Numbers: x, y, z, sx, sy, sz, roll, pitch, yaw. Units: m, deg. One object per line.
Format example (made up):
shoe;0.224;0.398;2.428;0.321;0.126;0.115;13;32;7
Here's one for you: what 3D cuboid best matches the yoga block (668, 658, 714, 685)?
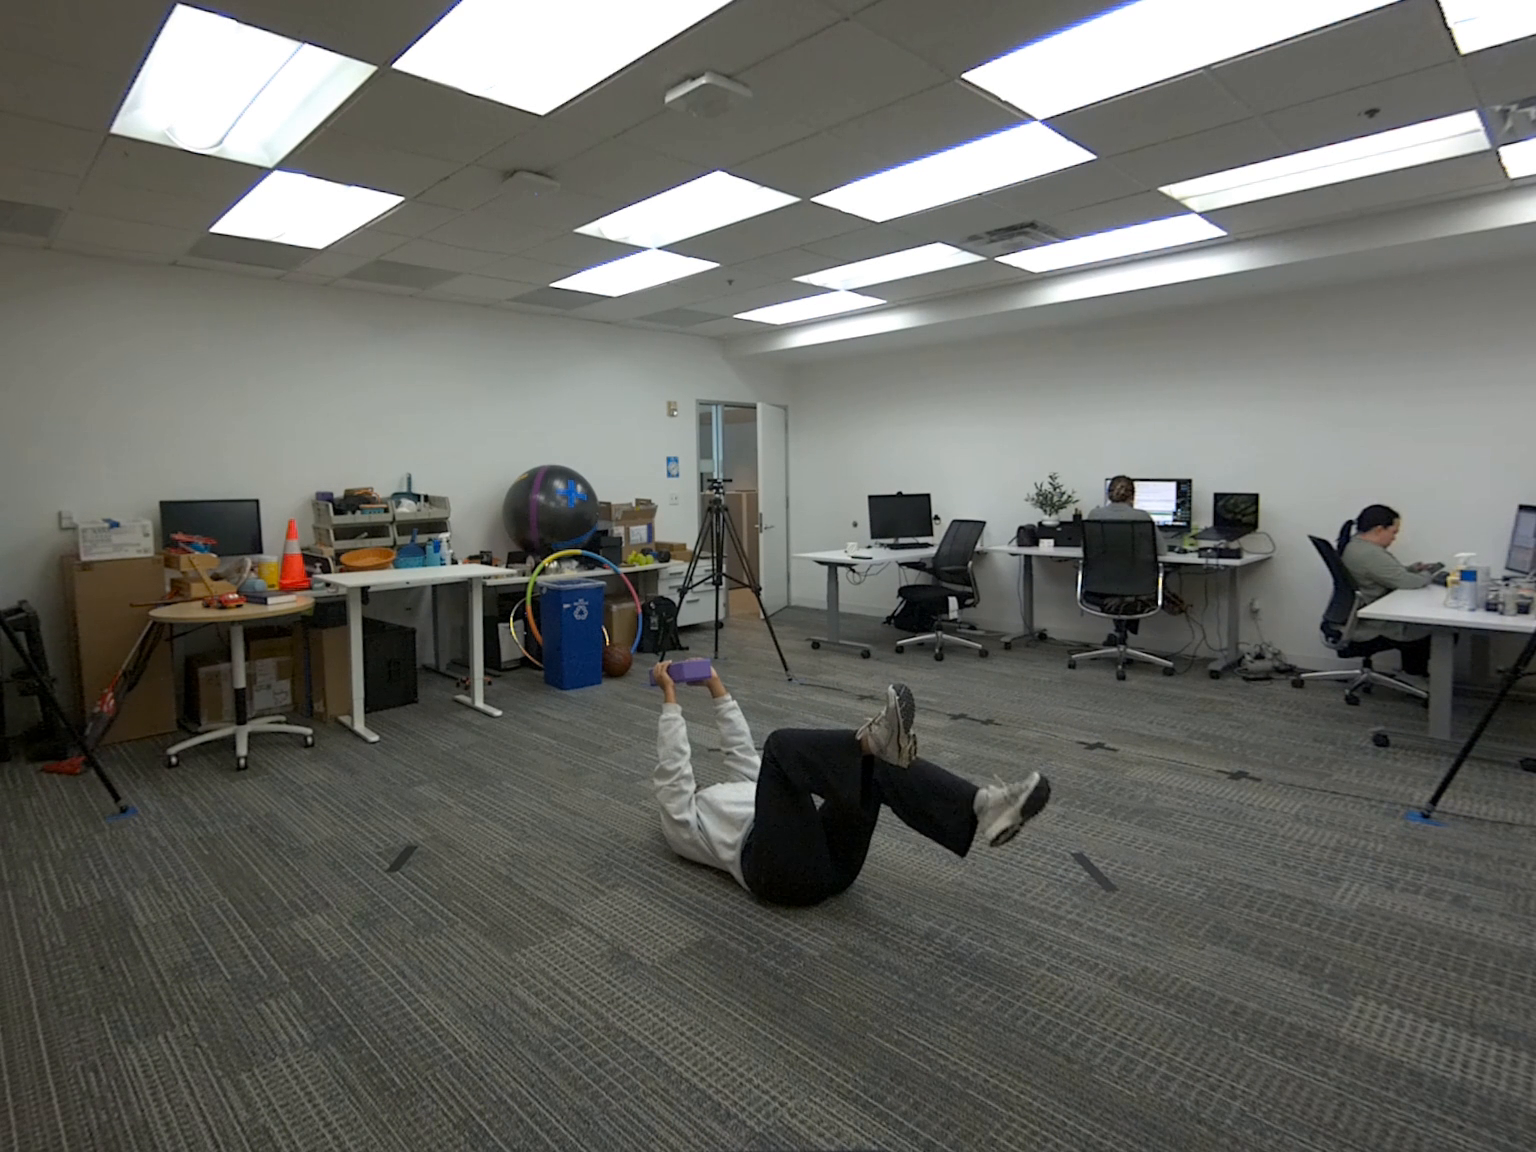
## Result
yoga block;-0.352;0.382;3.383;0.144;0.077;0.234;2;-12;-45
